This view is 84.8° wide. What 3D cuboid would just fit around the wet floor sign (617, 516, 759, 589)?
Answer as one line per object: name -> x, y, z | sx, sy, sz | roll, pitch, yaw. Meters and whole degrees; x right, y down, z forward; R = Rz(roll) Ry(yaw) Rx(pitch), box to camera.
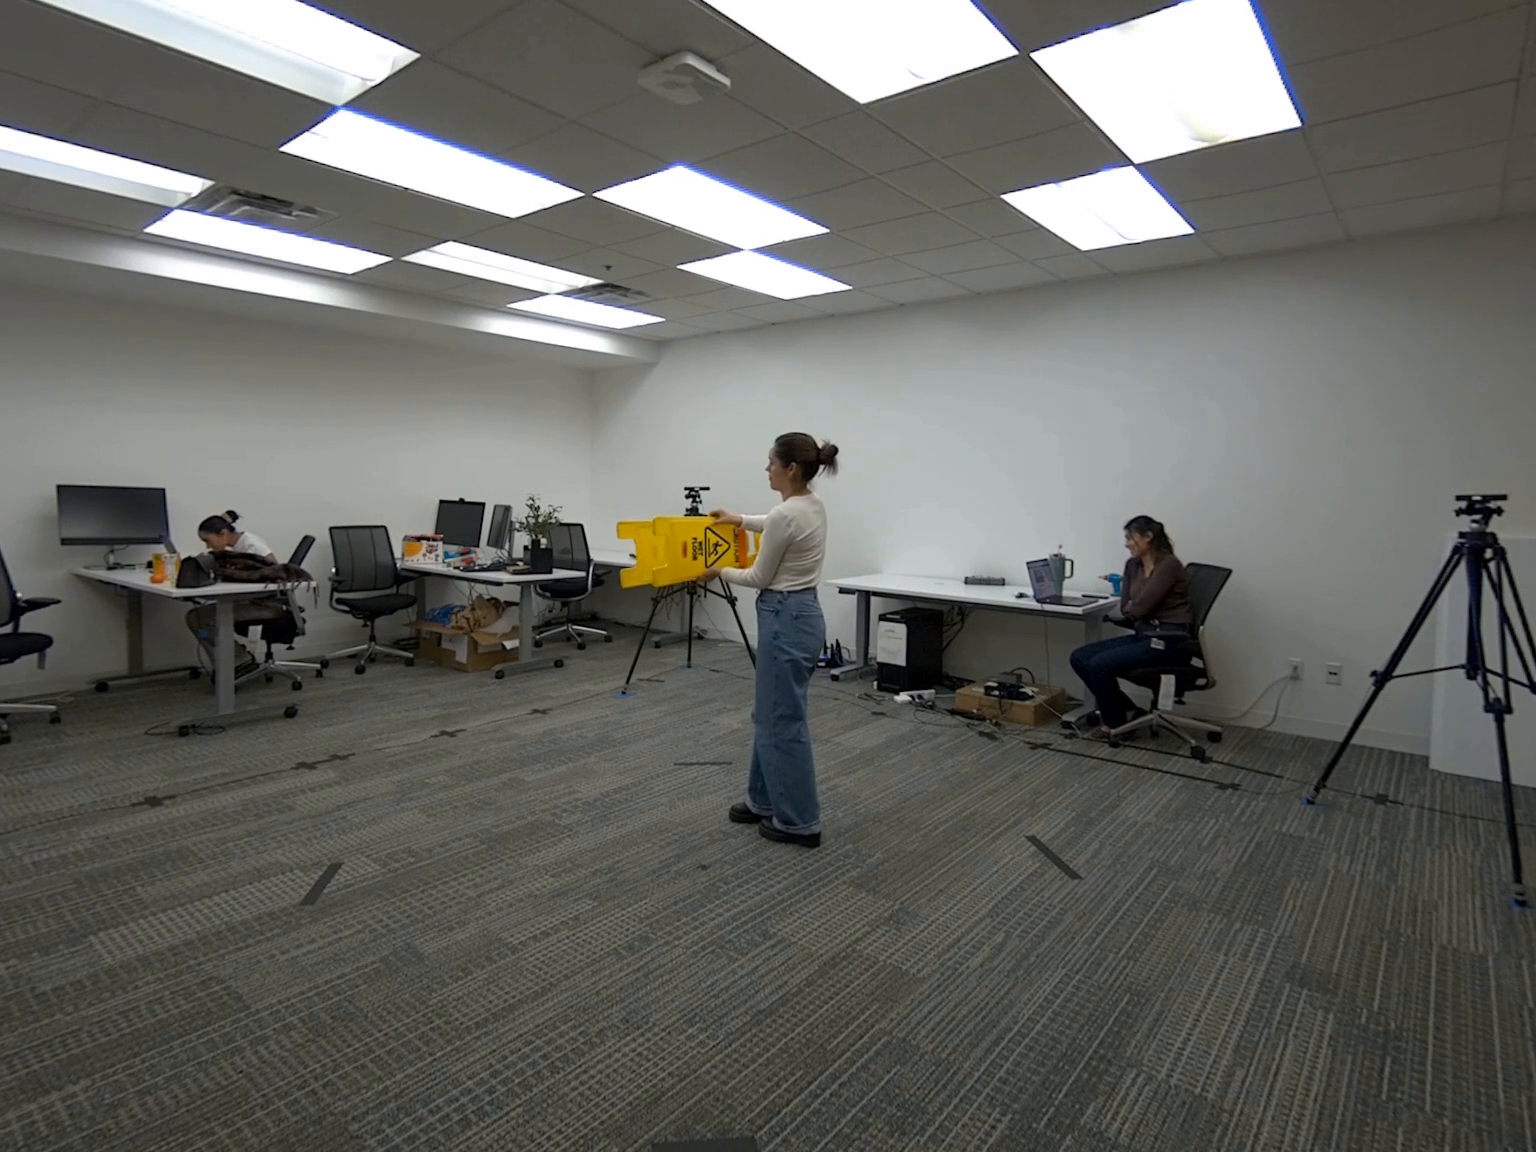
wet floor sign -> -0.294, -0.132, 3.621 | 0.628, 0.281, 0.299 | -6, 4, -38
